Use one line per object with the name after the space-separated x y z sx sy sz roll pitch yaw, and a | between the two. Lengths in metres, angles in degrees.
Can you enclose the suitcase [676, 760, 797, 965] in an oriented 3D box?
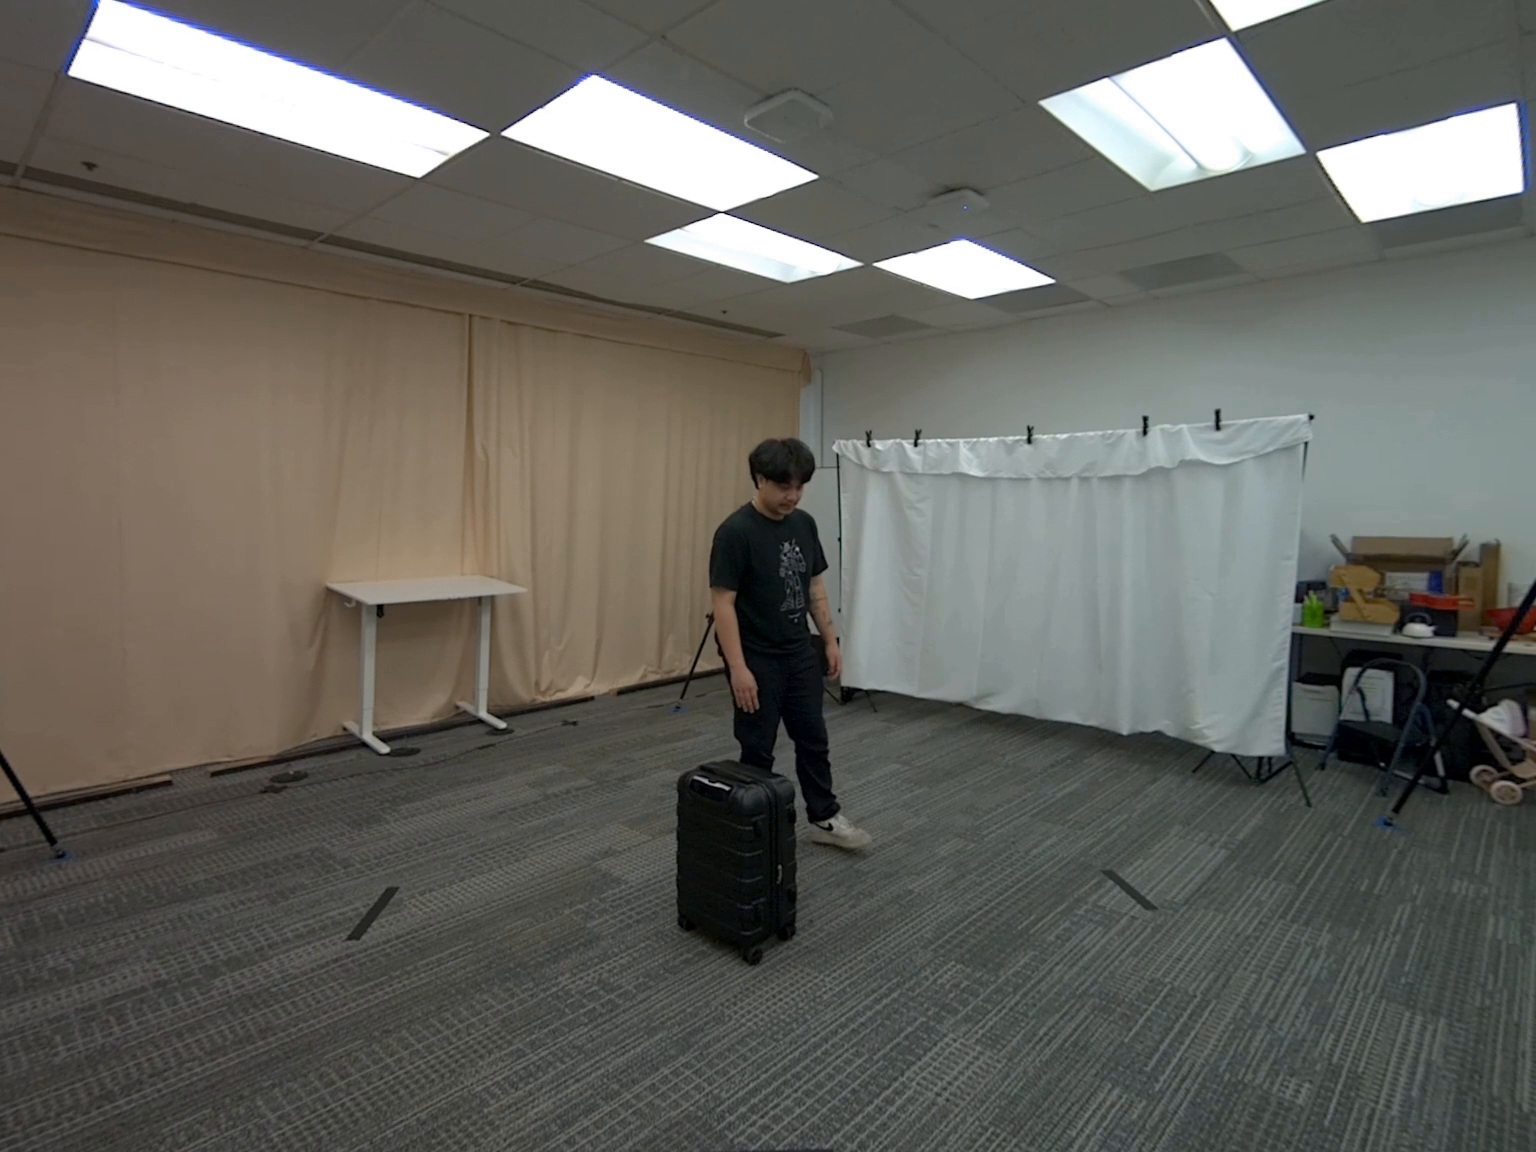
-0.107 0.890 2.718 0.388 0.548 0.241 3 6 45 | suitcase
